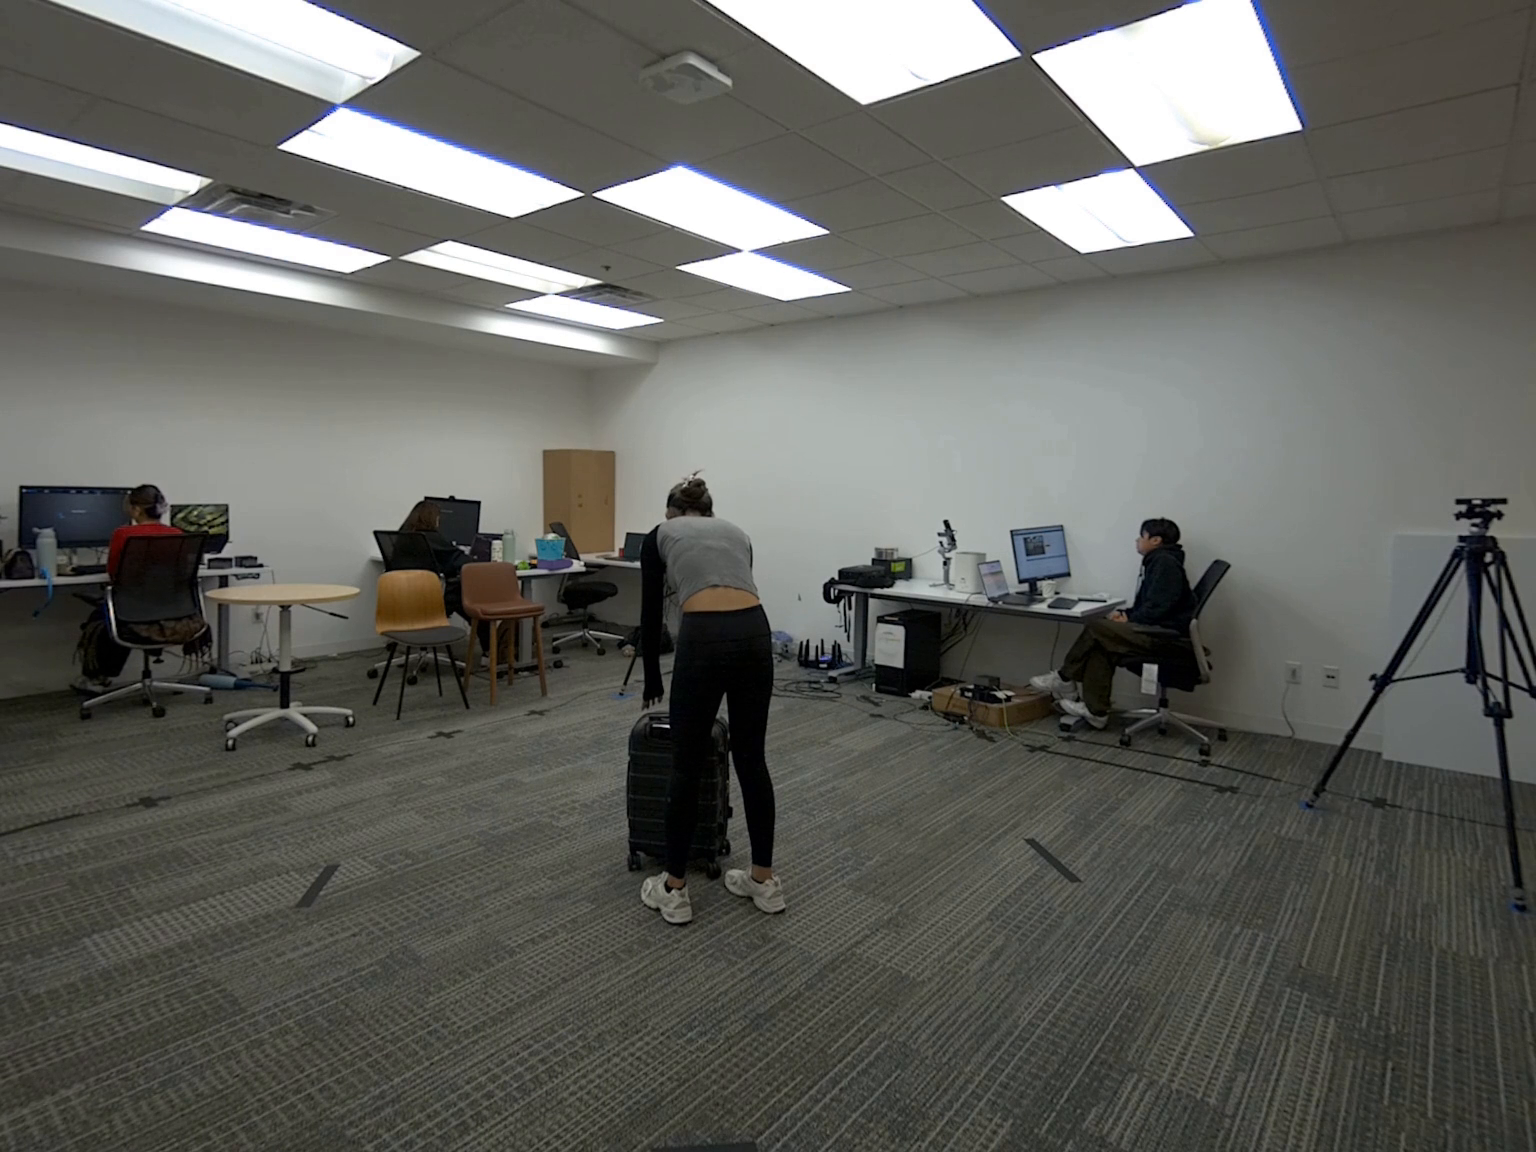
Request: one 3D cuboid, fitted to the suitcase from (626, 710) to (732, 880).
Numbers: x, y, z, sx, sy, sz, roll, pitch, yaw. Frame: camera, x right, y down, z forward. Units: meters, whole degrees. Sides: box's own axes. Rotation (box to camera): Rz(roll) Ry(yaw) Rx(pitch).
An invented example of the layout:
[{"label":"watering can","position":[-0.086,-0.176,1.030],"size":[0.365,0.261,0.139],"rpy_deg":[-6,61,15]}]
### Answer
[{"label":"suitcase","position":[-0.344,0.784,3.185],"size":[0.381,0.549,0.245],"rpy_deg":[1,1,12]}]
